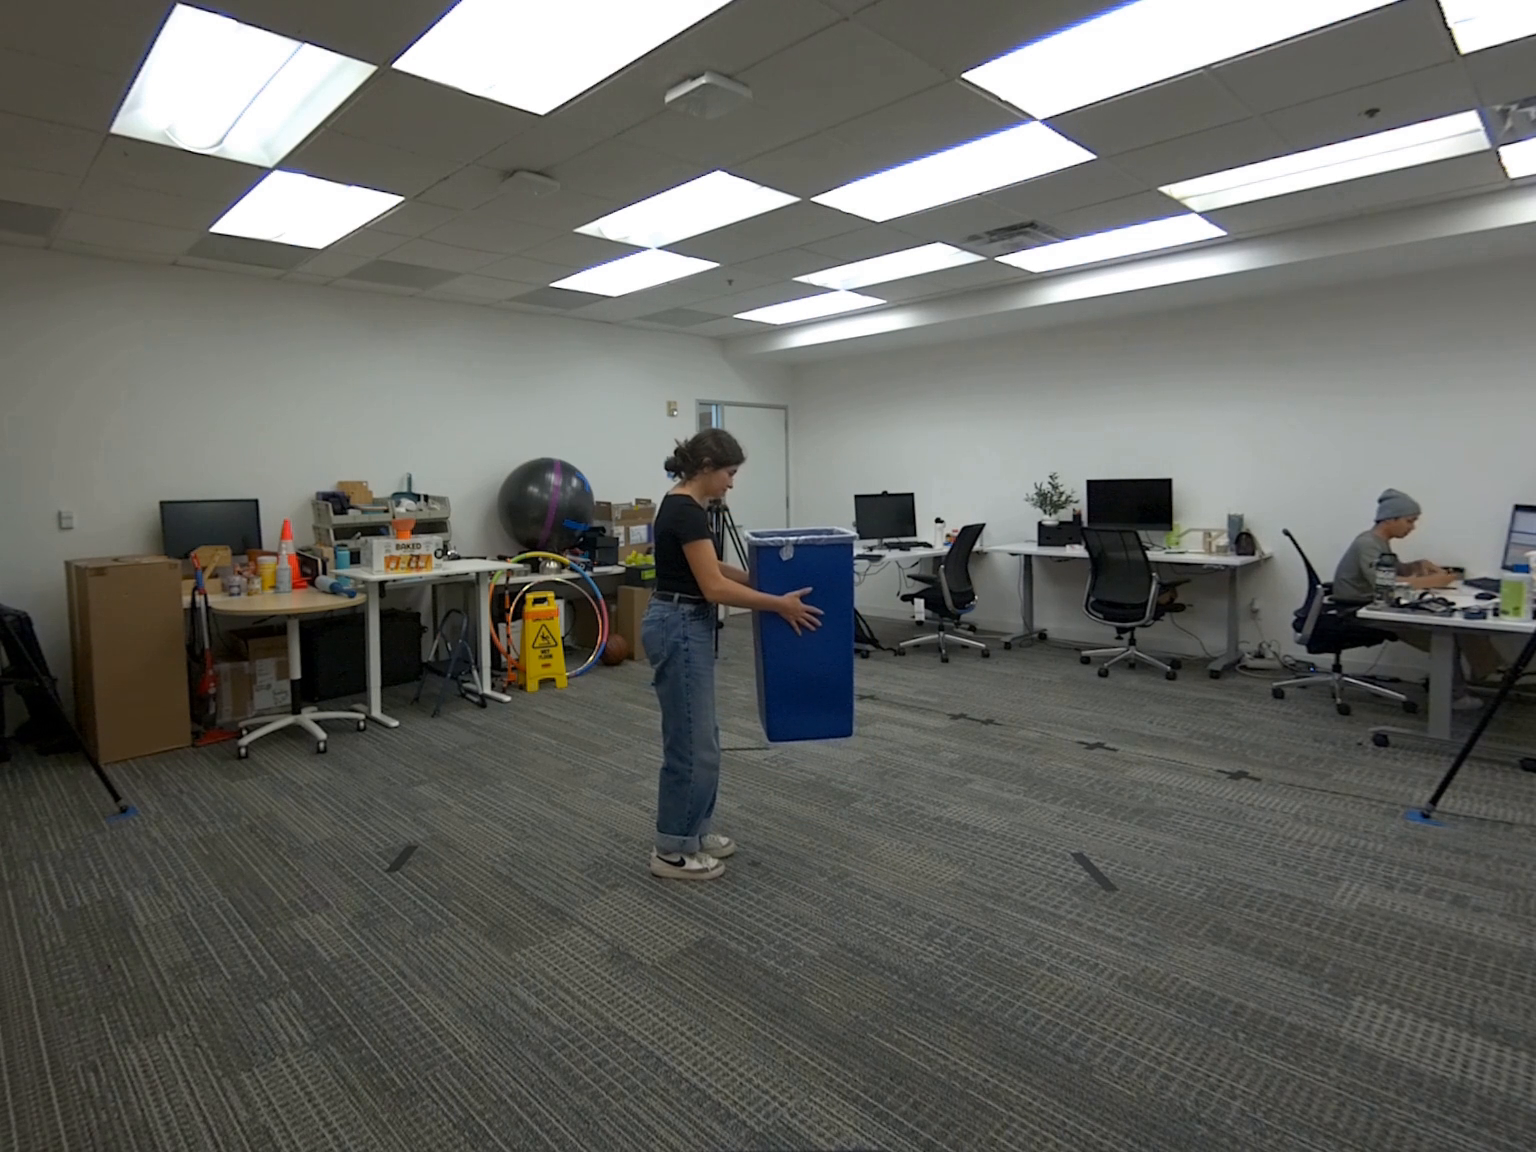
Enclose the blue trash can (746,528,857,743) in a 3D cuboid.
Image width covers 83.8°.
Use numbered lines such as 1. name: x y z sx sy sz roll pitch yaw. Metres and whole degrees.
1. blue trash can: 0.117 0.203 3.088 0.376 0.709 0.378 -2 7 -6
